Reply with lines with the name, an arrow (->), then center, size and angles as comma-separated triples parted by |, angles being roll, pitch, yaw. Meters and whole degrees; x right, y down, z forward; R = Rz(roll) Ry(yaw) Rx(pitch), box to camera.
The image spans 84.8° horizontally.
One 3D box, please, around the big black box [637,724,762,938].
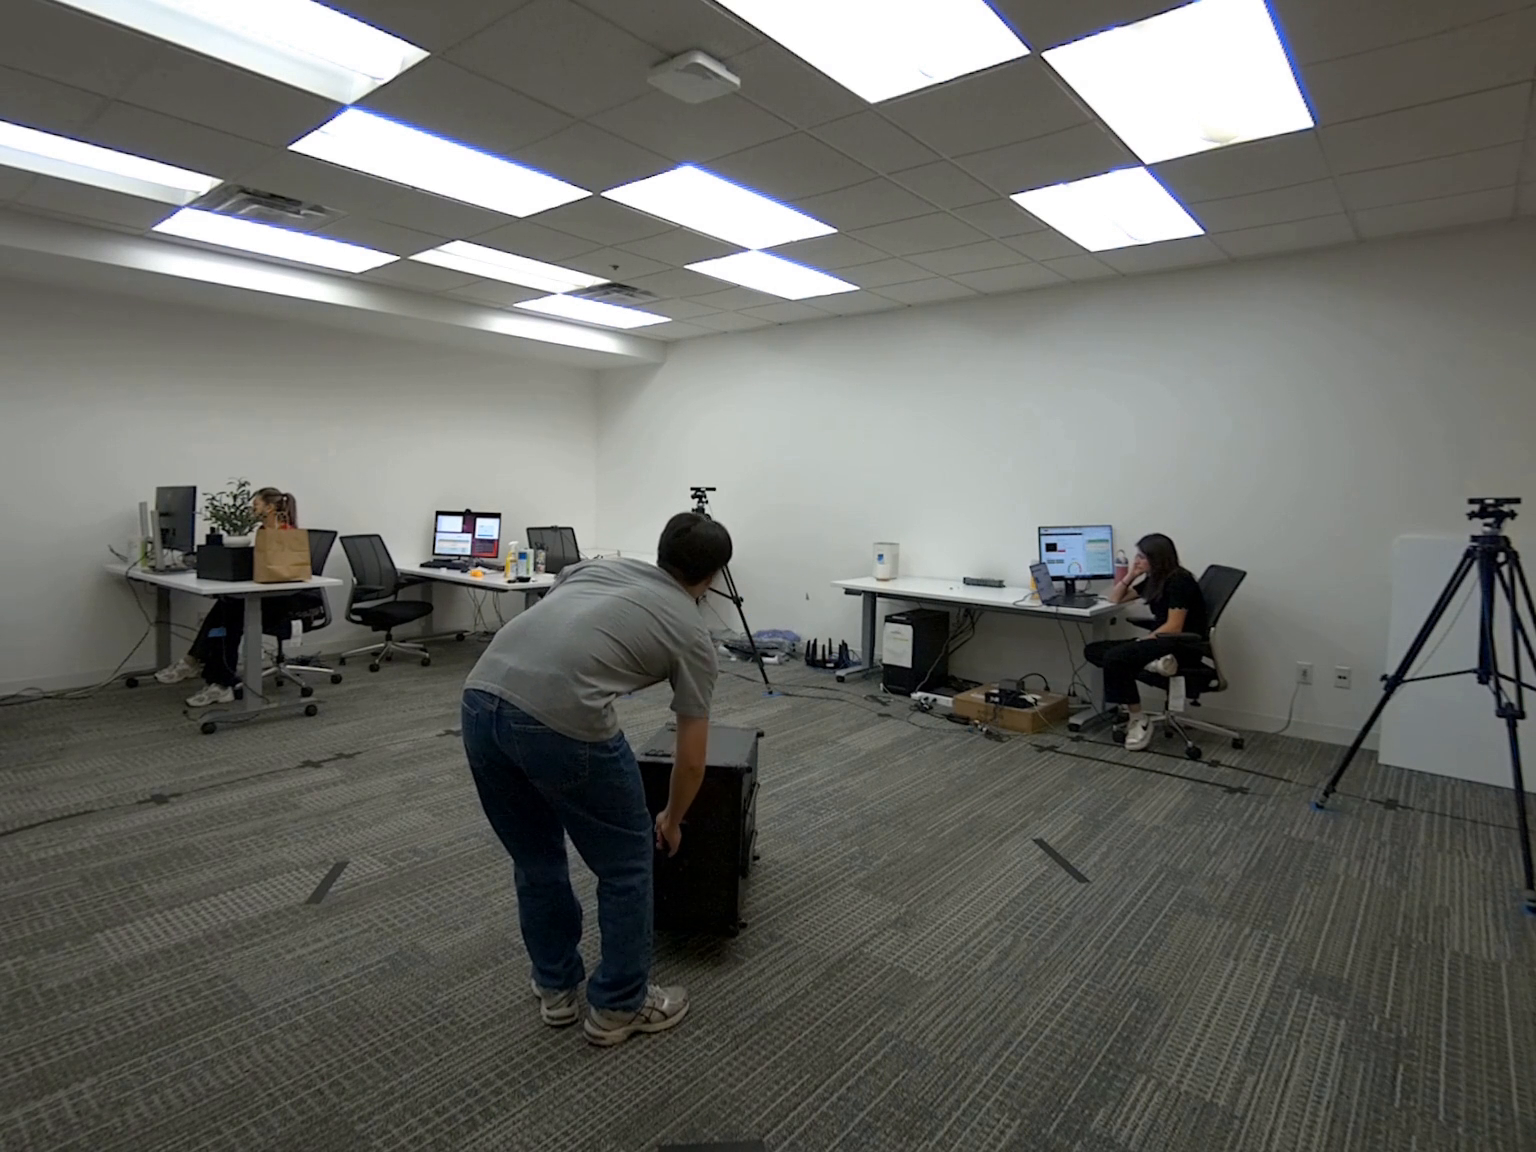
big black box -> -0.235, 0.792, 2.831 | 0.399, 0.522, 0.854 | 2, -1, 4
